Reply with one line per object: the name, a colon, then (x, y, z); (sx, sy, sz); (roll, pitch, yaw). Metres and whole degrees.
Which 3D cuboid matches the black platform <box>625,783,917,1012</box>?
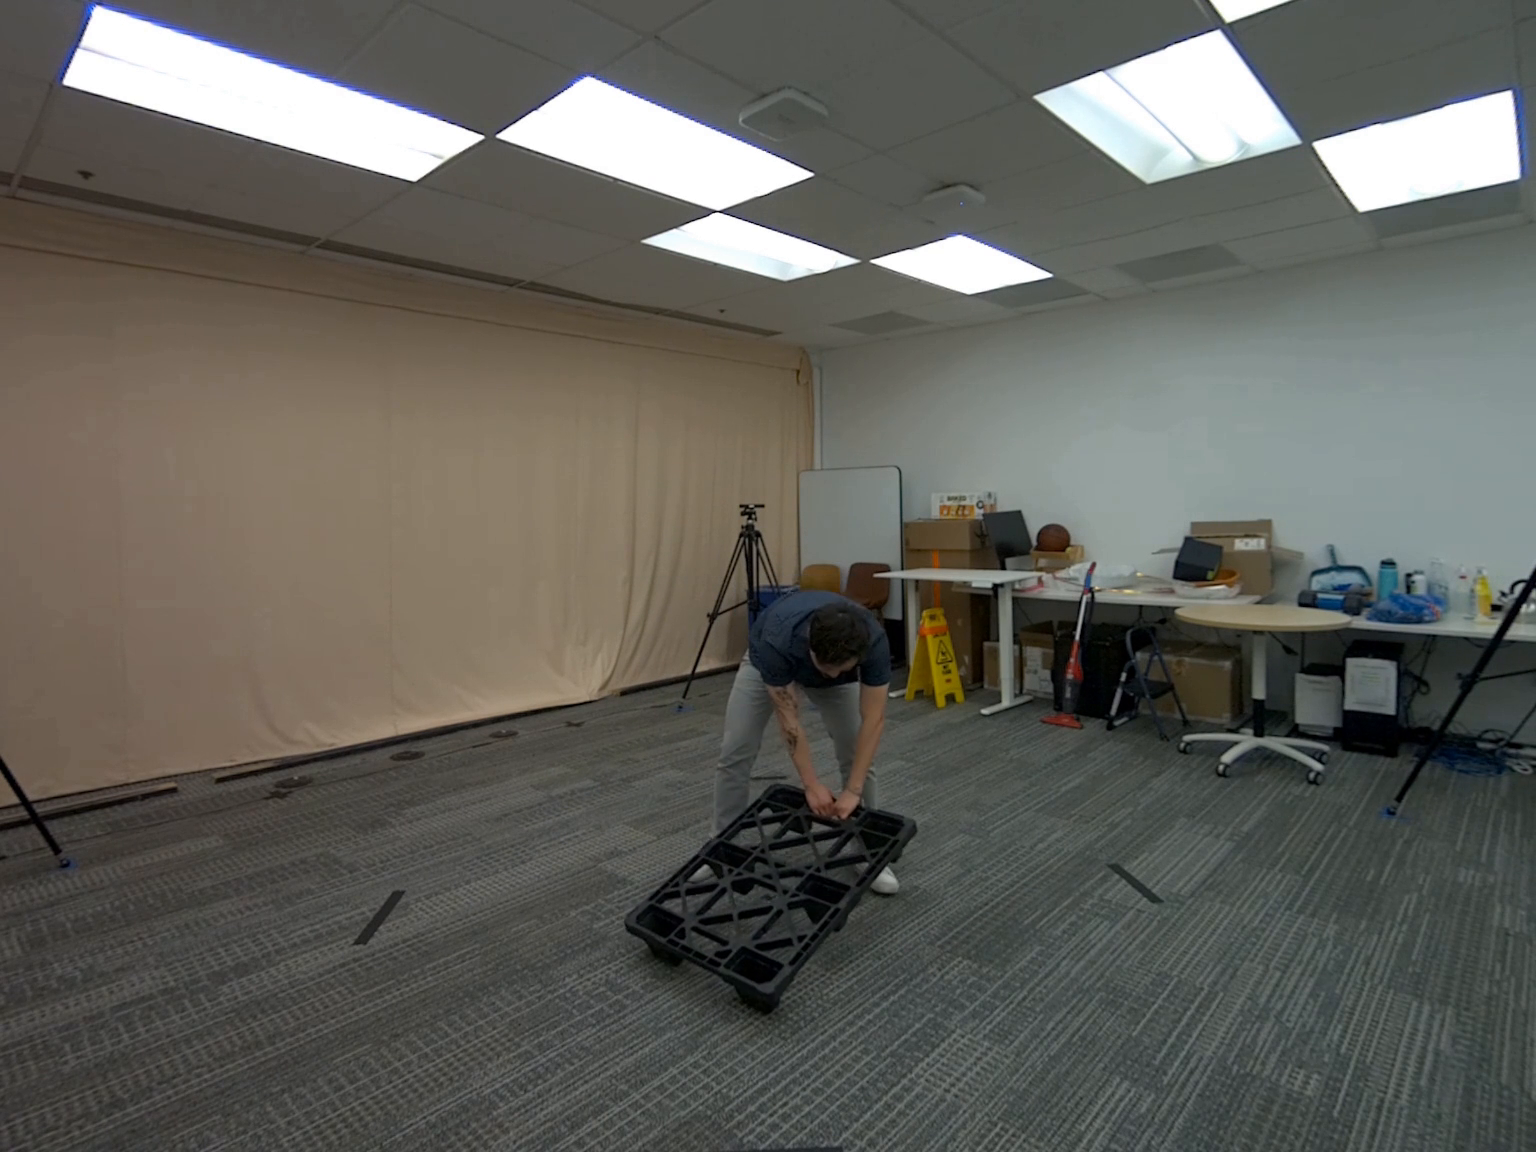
black platform: (0.038, 0.993, 2.682); (0.625, 0.141, 0.791); (4, 26, 41)
